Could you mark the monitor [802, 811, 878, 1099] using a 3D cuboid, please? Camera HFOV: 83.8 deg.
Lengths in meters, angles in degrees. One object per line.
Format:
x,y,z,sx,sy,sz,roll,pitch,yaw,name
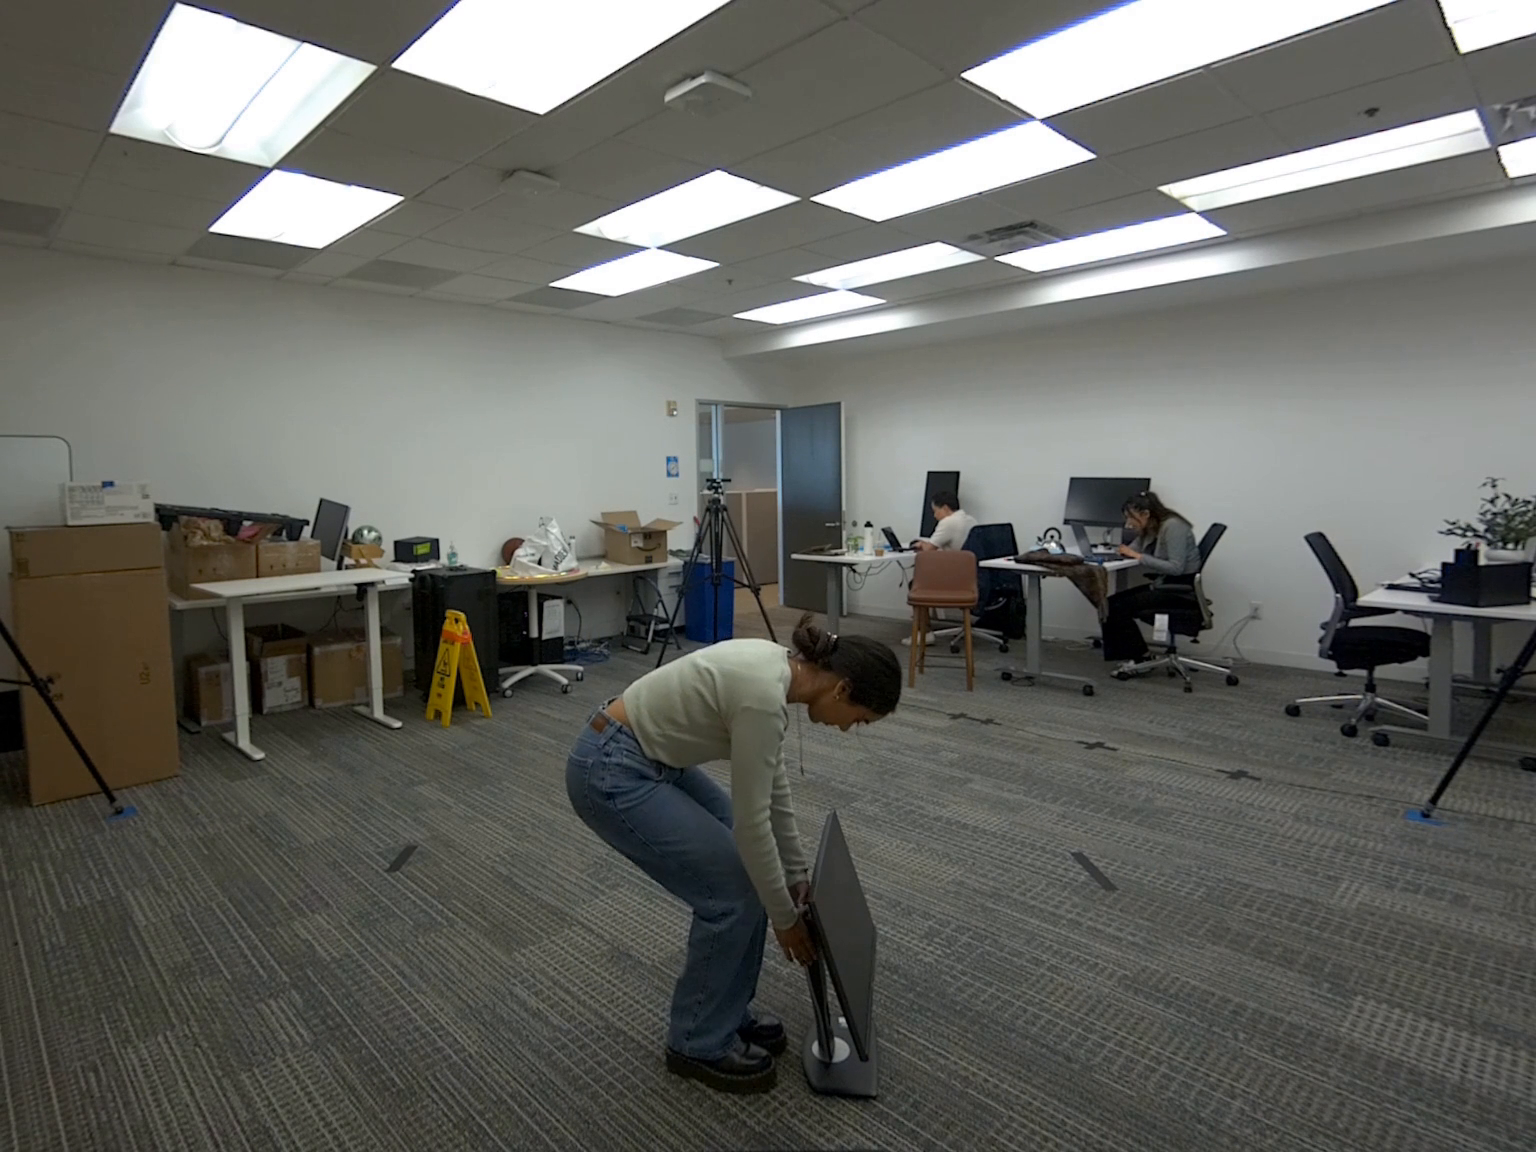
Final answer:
0.170,0.899,2.044,0.176,0.514,0.526,1,4,9,monitor
